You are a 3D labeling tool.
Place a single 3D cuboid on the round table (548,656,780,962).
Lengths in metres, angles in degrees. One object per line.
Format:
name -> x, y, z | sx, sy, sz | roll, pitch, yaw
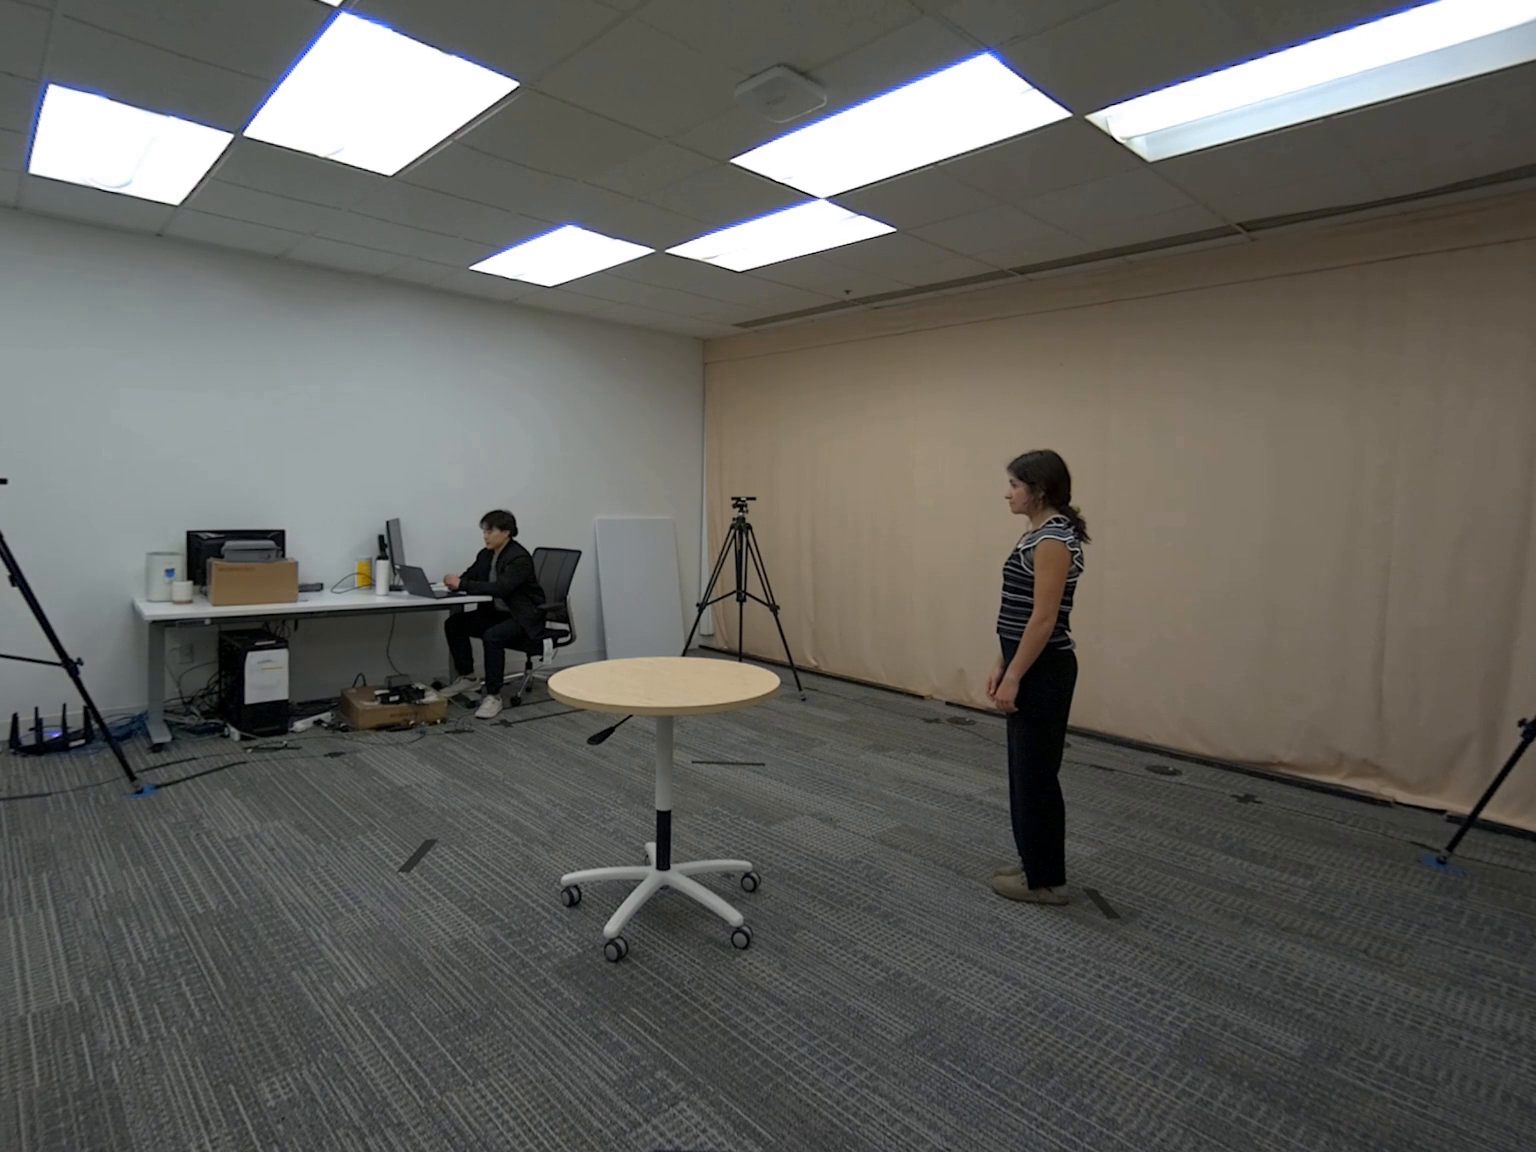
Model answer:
round table -> -0.345, 0.732, 2.832 | 0.784, 0.784, 0.788 | 1, 4, -1
